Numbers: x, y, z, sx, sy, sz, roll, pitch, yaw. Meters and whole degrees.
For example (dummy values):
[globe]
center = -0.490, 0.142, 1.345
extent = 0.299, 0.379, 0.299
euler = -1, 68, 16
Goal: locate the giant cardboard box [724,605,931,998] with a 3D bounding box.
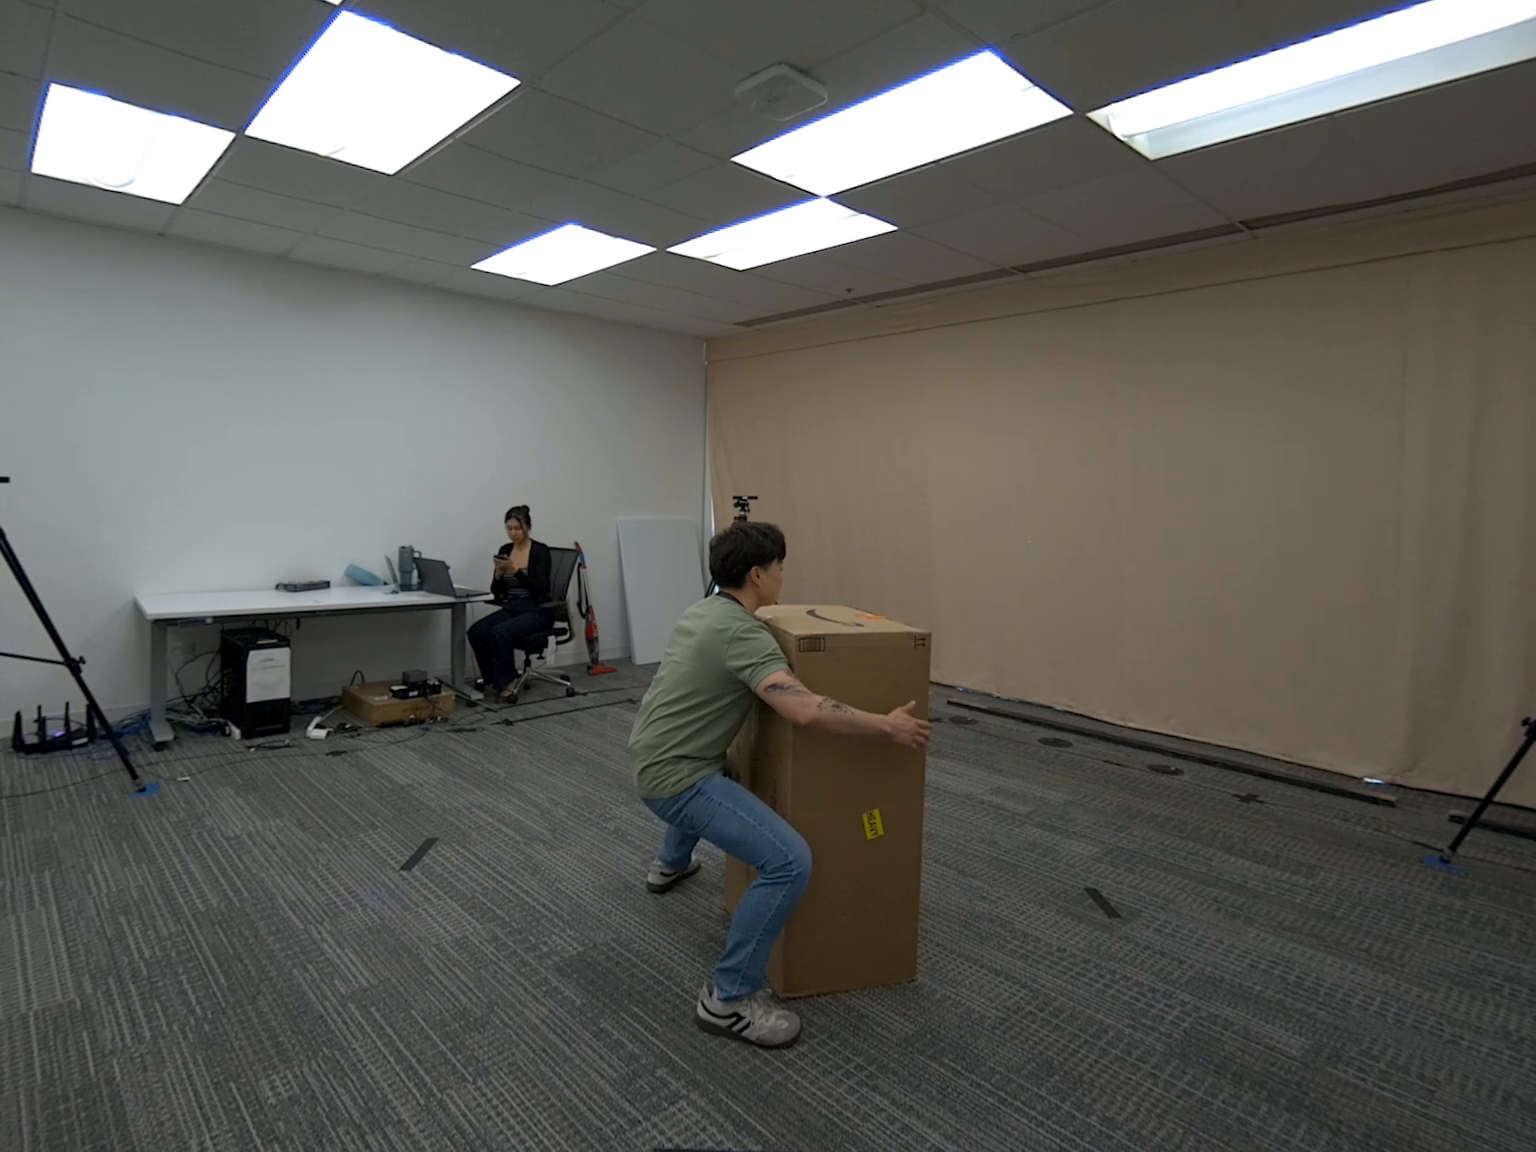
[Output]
[giant cardboard box]
center = 0.161, 0.641, 2.637
extent = 0.420, 1.023, 0.587
euler = 1, 4, -19
